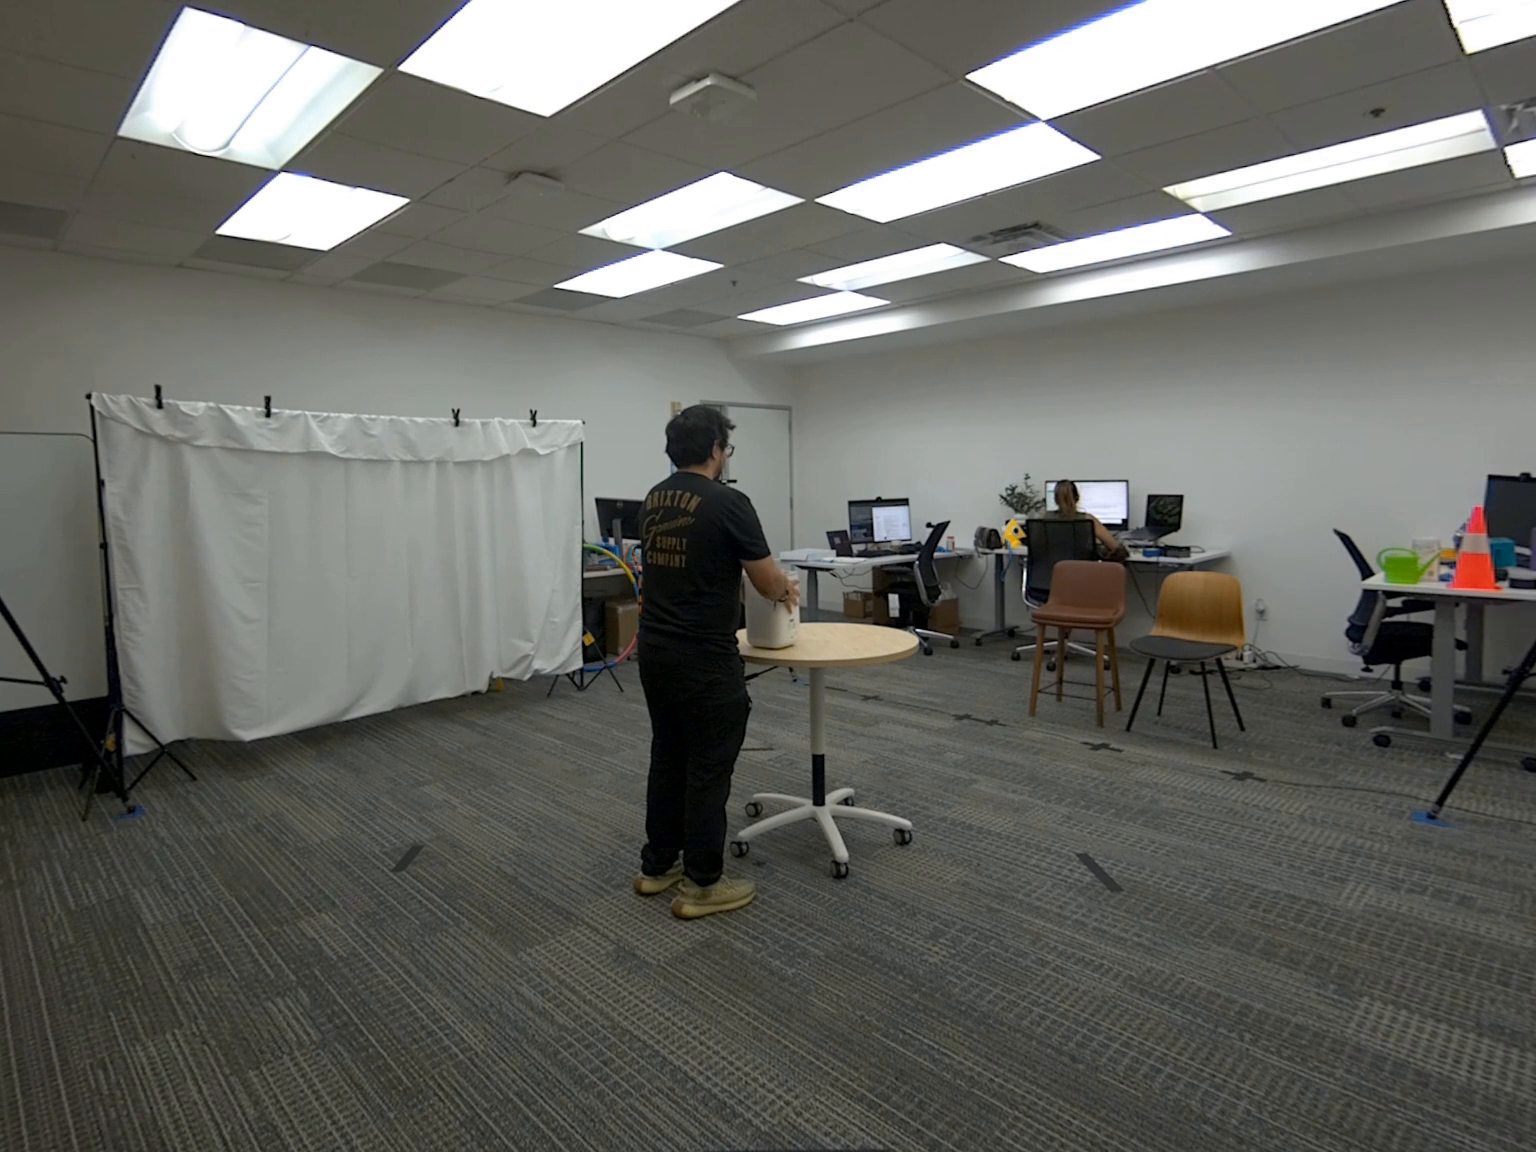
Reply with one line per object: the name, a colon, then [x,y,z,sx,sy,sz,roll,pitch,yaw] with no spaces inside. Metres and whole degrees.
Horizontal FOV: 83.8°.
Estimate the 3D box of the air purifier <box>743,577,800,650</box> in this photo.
air purifier: [0.019,0.121,3.146,0.176,0.264,0.167,3,8,36]
